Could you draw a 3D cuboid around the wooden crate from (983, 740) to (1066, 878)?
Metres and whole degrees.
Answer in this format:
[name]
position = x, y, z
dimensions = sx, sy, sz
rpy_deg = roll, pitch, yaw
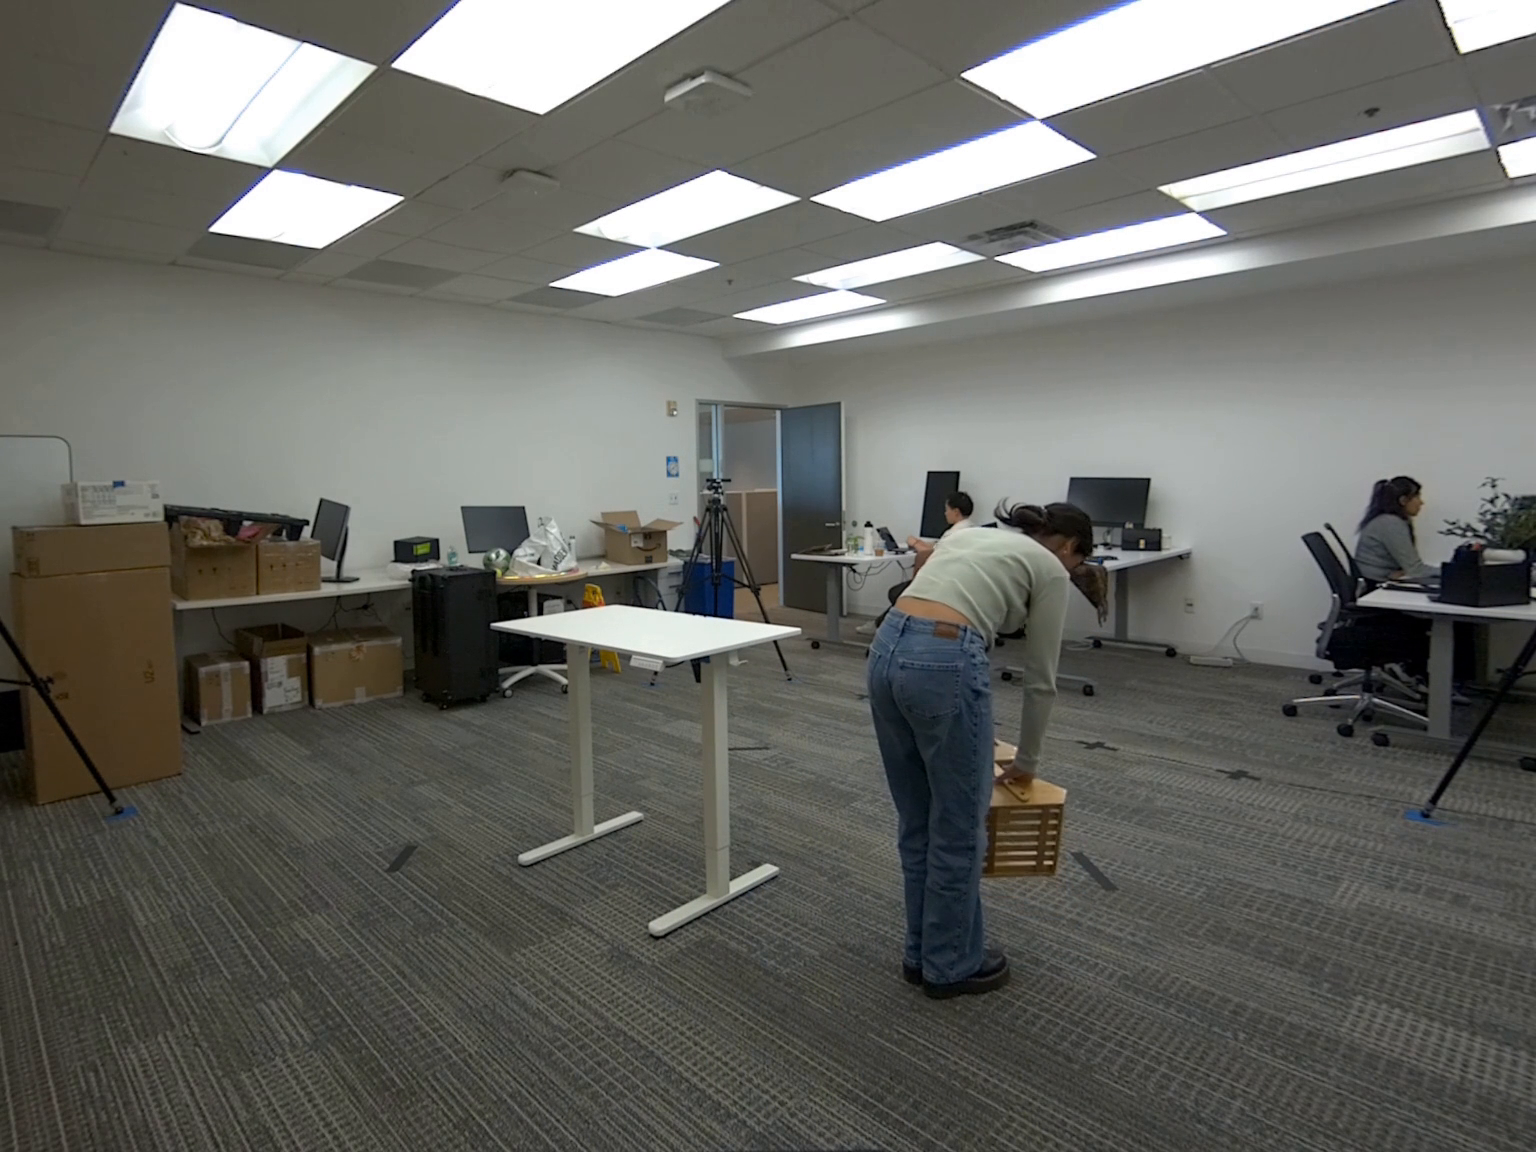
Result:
[wooden crate]
position = 0.707, 0.684, 2.533
dimensions = 0.303, 0.316, 0.279
rpy_deg = -4, 32, 4
